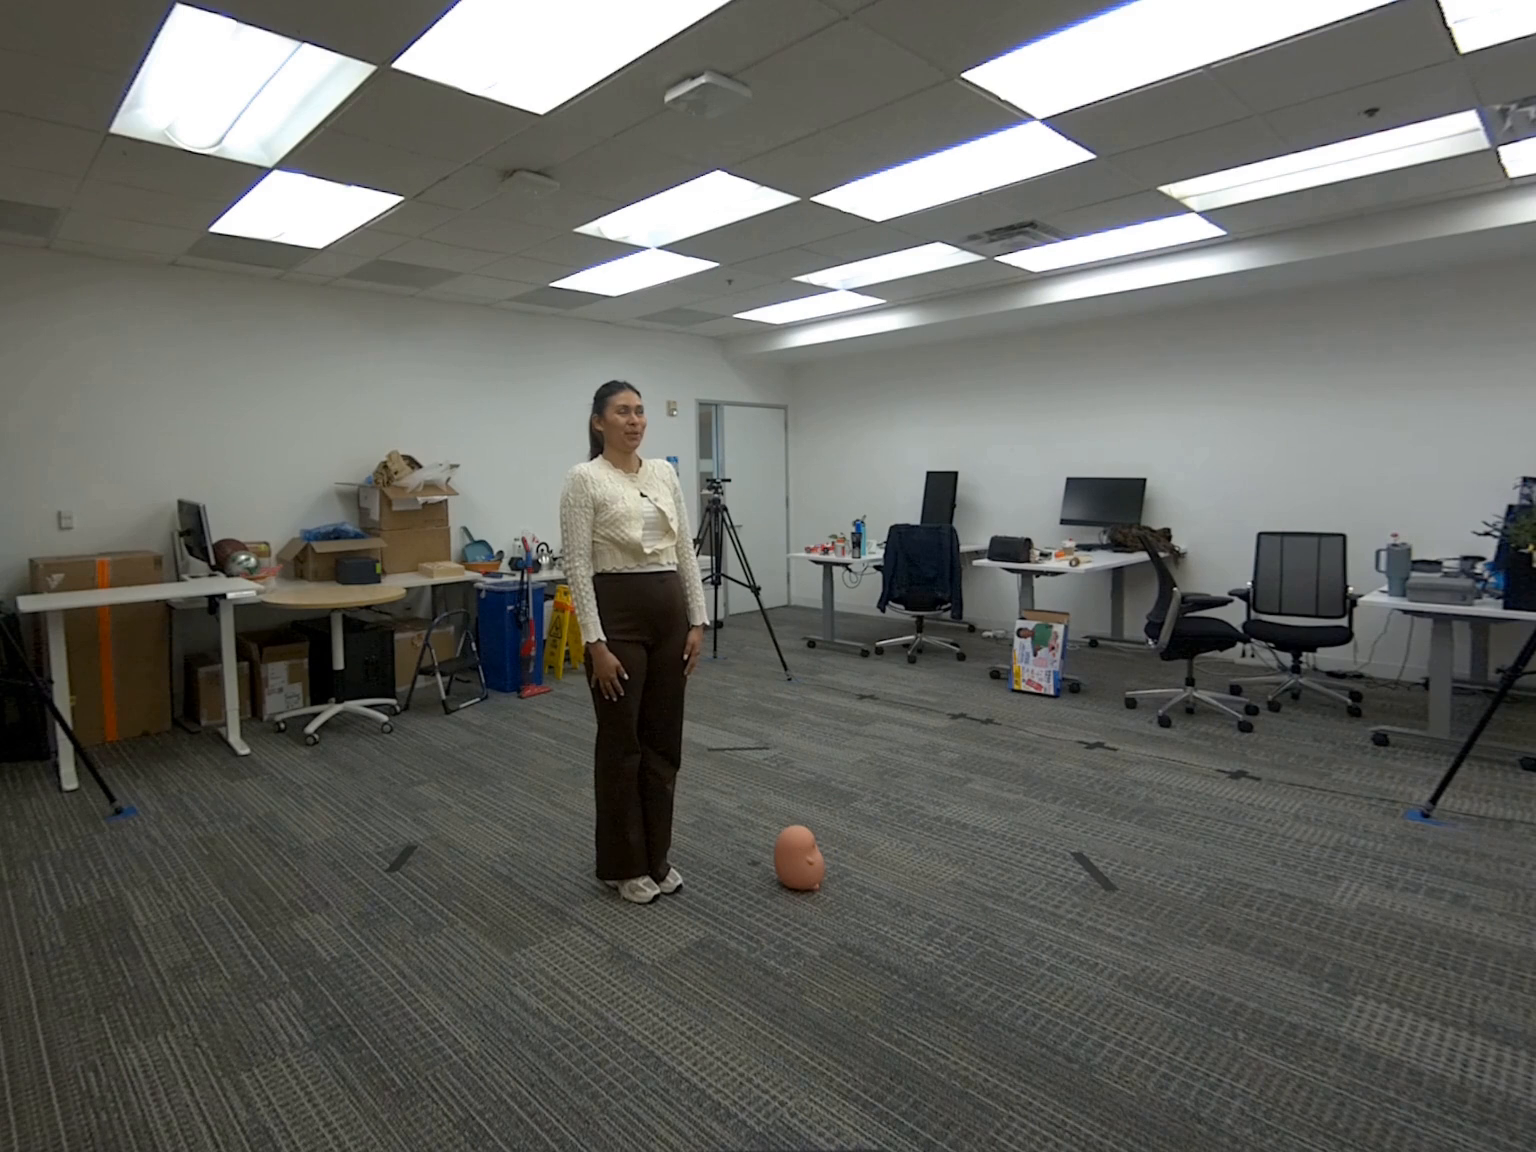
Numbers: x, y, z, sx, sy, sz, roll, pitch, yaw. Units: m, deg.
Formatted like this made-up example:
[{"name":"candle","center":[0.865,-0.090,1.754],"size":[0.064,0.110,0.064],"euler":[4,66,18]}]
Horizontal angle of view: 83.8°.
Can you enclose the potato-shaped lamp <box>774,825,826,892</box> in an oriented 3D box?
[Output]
[{"name":"potato-shaped lamp","center":[0.108,0.953,2.932],"size":[0.174,0.197,0.163],"euler":[-1,4,15]}]
